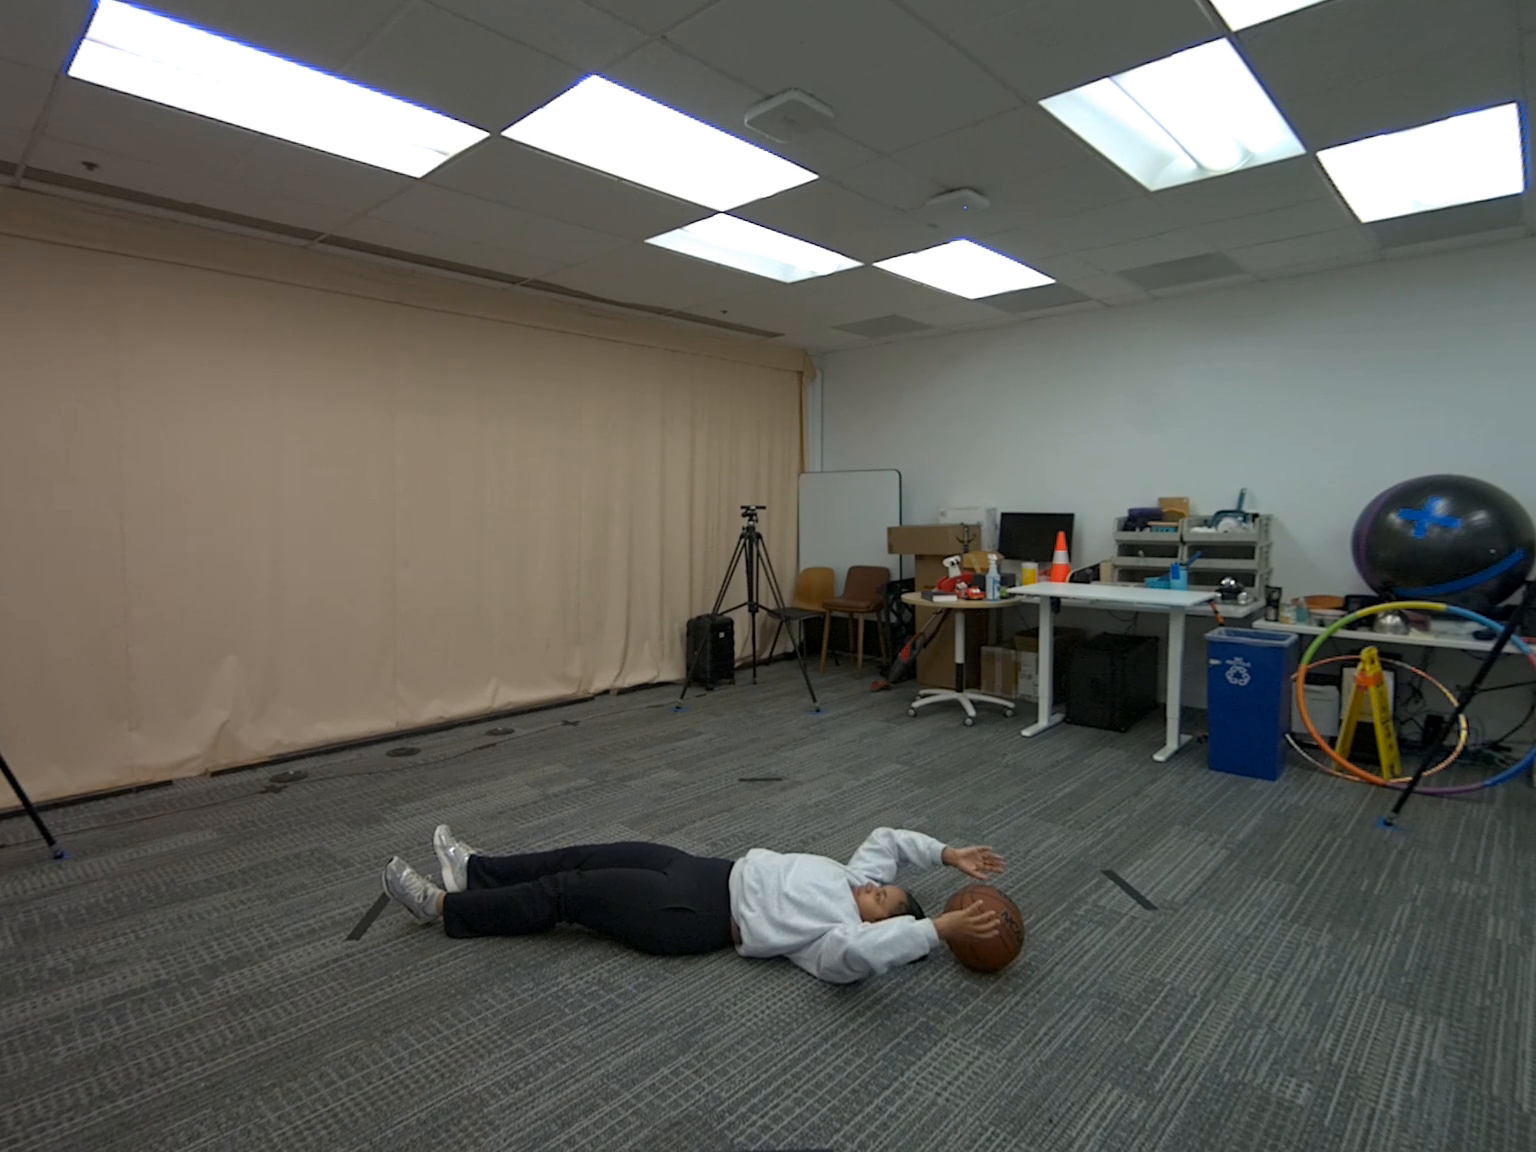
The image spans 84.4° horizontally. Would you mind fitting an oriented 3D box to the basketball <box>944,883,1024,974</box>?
[{"bbox_3d":[0.658,1.060,2.543,0.236,0.236,0.236,2,0,-2],"label":"basketball"}]
